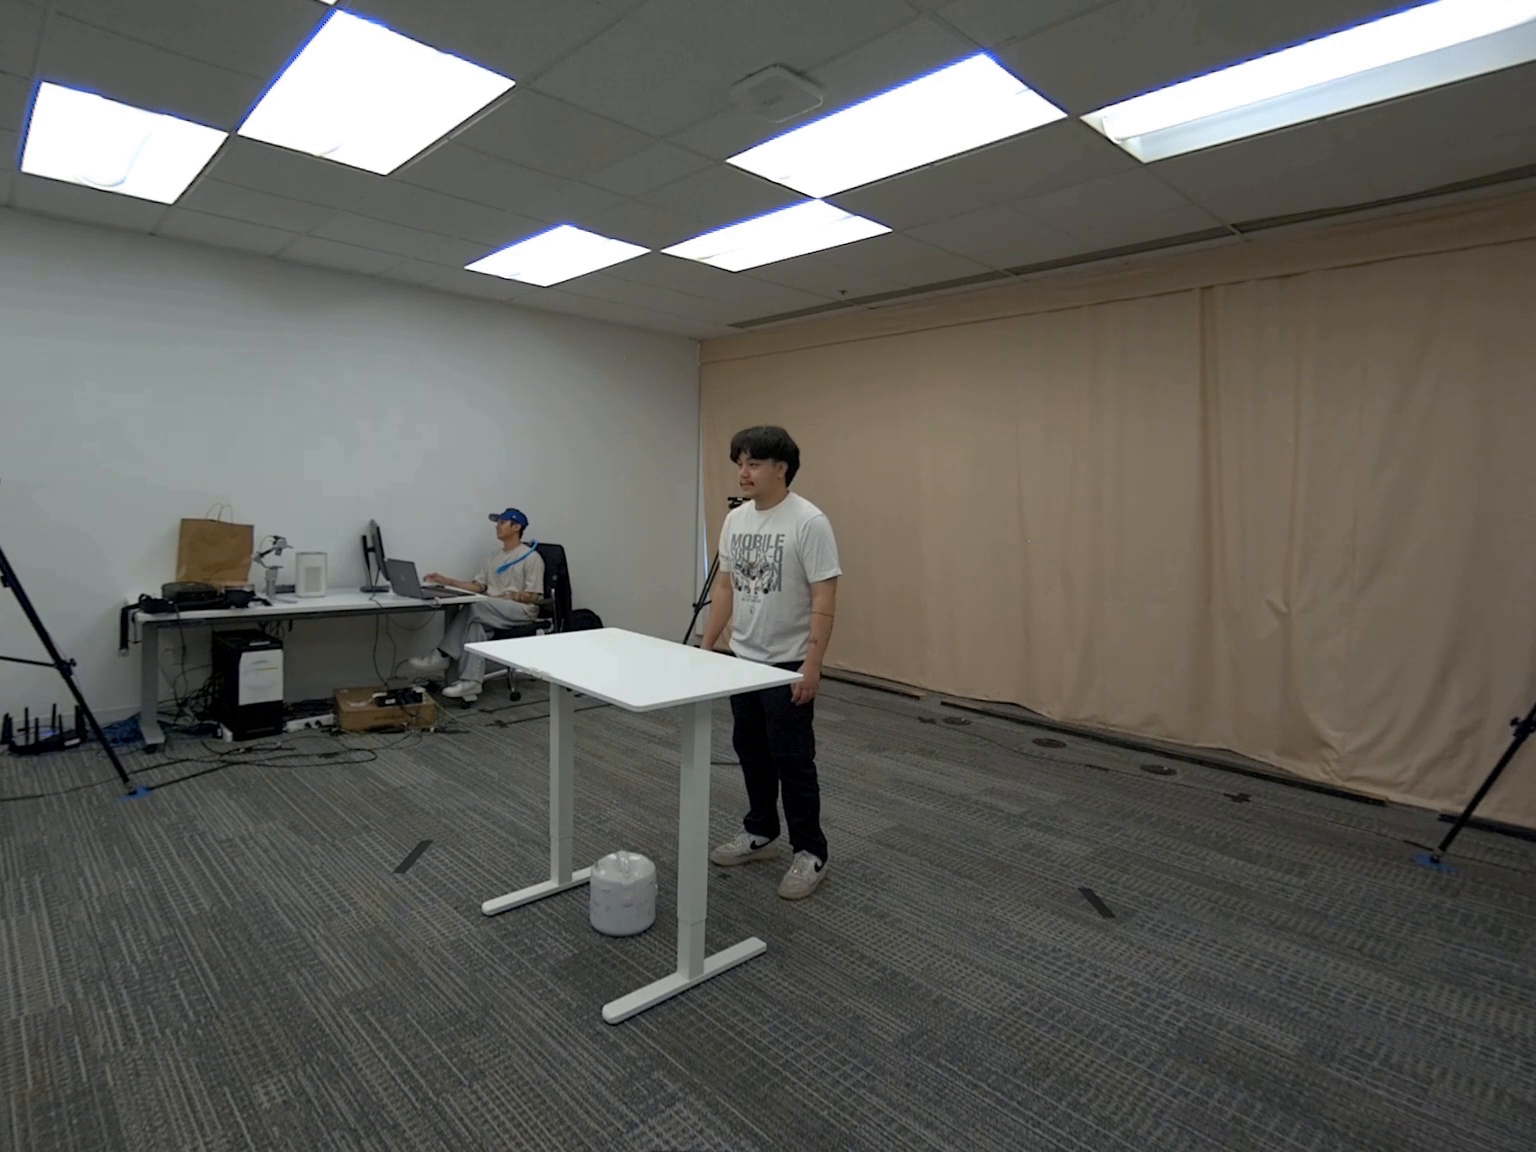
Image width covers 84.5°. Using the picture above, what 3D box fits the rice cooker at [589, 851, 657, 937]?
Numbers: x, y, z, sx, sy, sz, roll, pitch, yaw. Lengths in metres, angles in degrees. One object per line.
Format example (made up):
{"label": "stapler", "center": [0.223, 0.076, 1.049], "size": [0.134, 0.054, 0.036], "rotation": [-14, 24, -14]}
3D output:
{"label": "rice cooker", "center": [-0.471, 1.019, 2.730], "size": [0.215, 0.232, 0.224], "rotation": [0, 4, -15]}
